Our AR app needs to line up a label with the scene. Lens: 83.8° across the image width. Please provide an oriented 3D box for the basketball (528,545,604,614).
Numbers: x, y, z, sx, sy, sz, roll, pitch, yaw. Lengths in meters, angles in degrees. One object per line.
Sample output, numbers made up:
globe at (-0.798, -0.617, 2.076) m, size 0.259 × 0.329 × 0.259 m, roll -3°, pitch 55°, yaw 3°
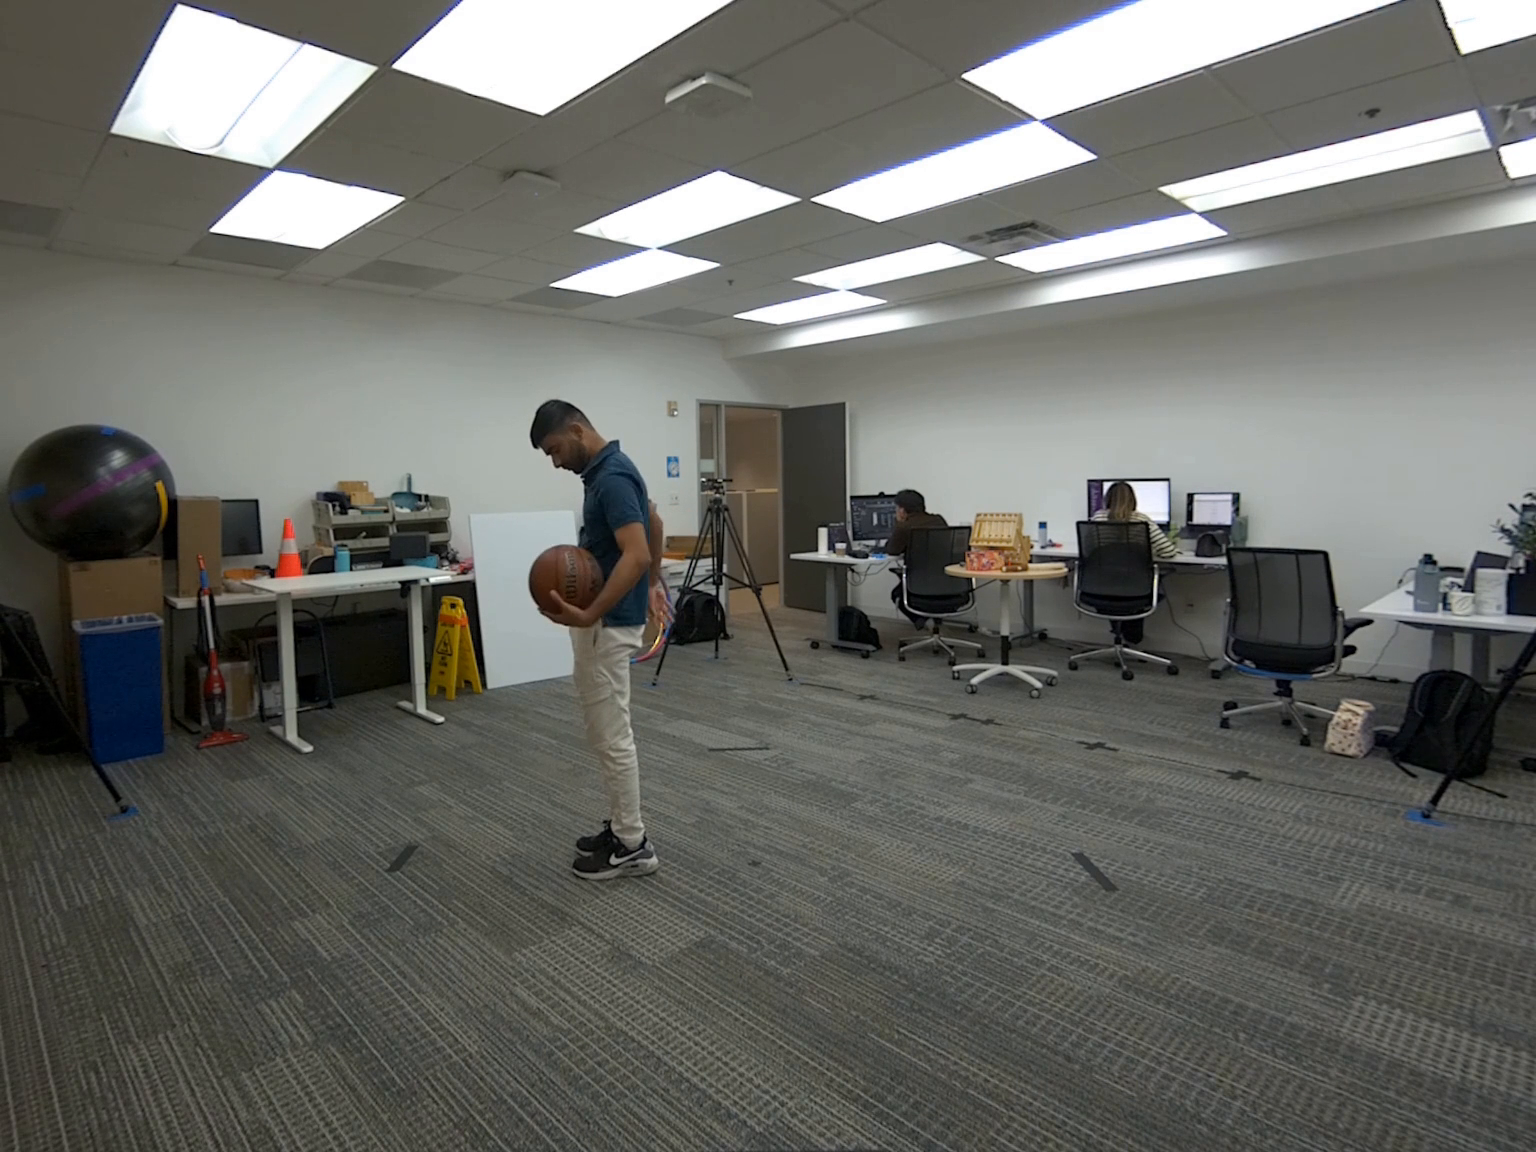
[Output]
basketball at (-0.661, 0.014, 2.794) m, size 0.236 × 0.235 × 0.237 m, roll -1°, pitch 5°, yaw -2°
